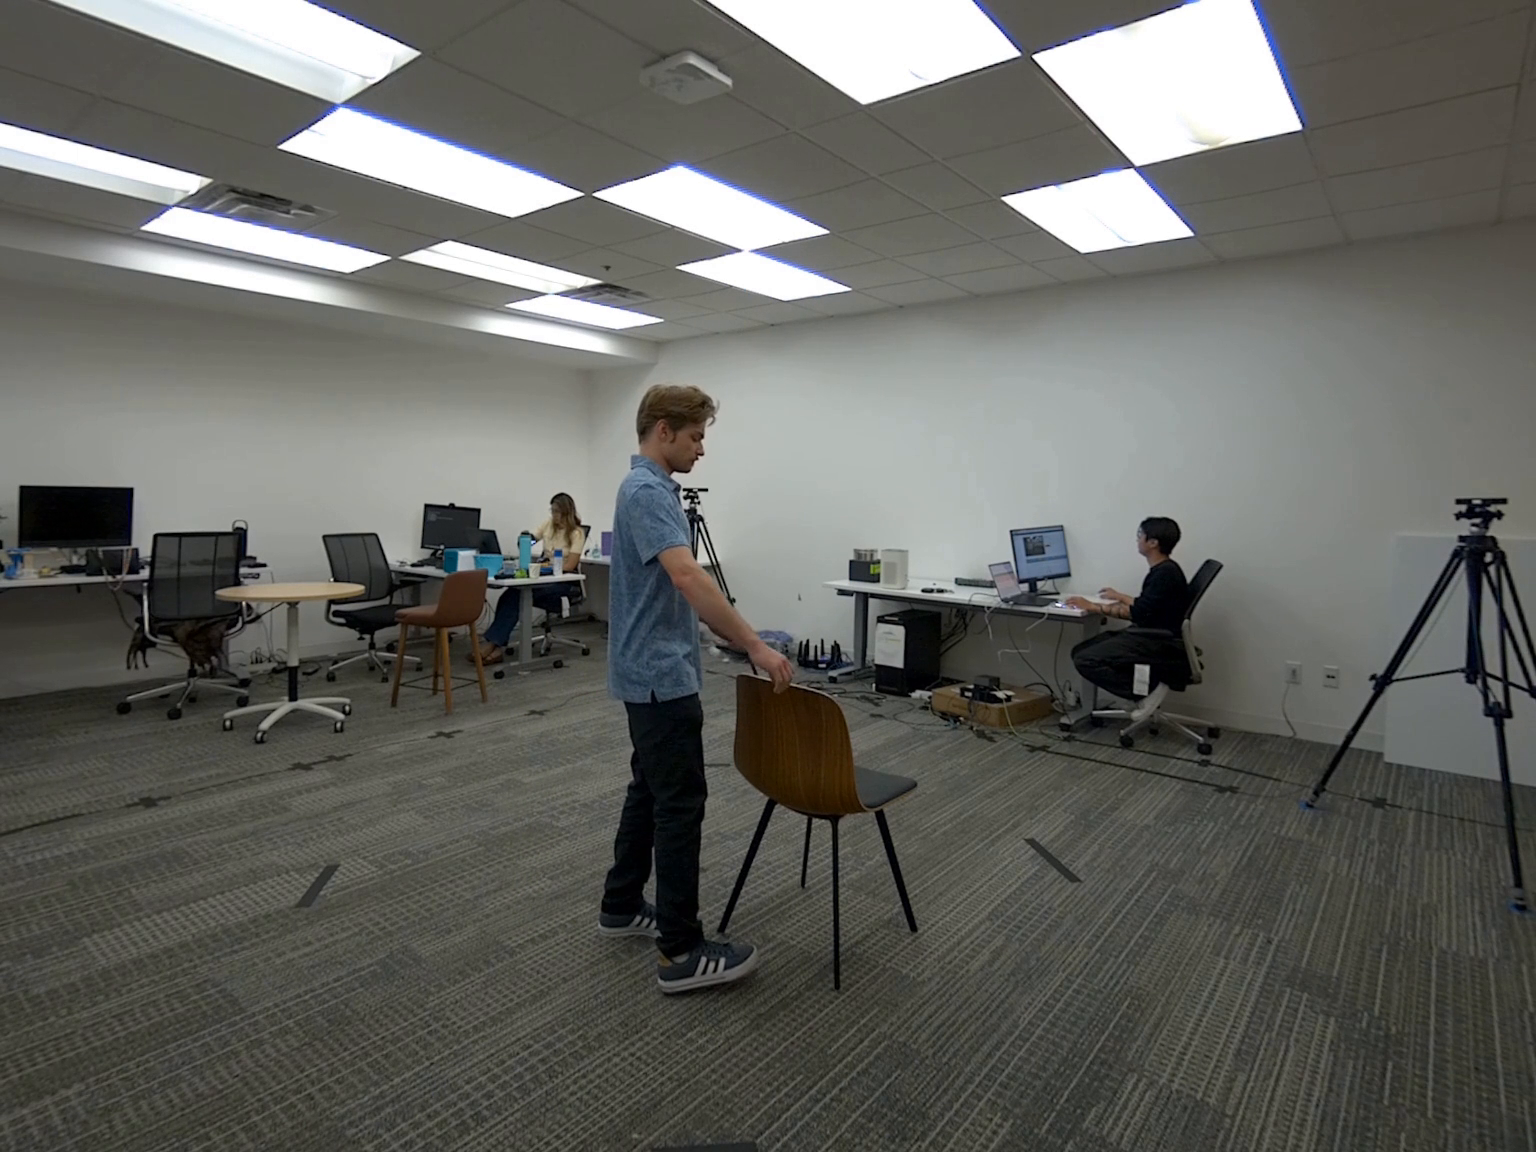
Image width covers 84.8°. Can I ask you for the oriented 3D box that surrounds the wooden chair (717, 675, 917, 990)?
[{"bbox_3d":[0.168,0.697,2.662,0.494,0.872,0.509,4,9,39],"label":"wooden chair"}]
